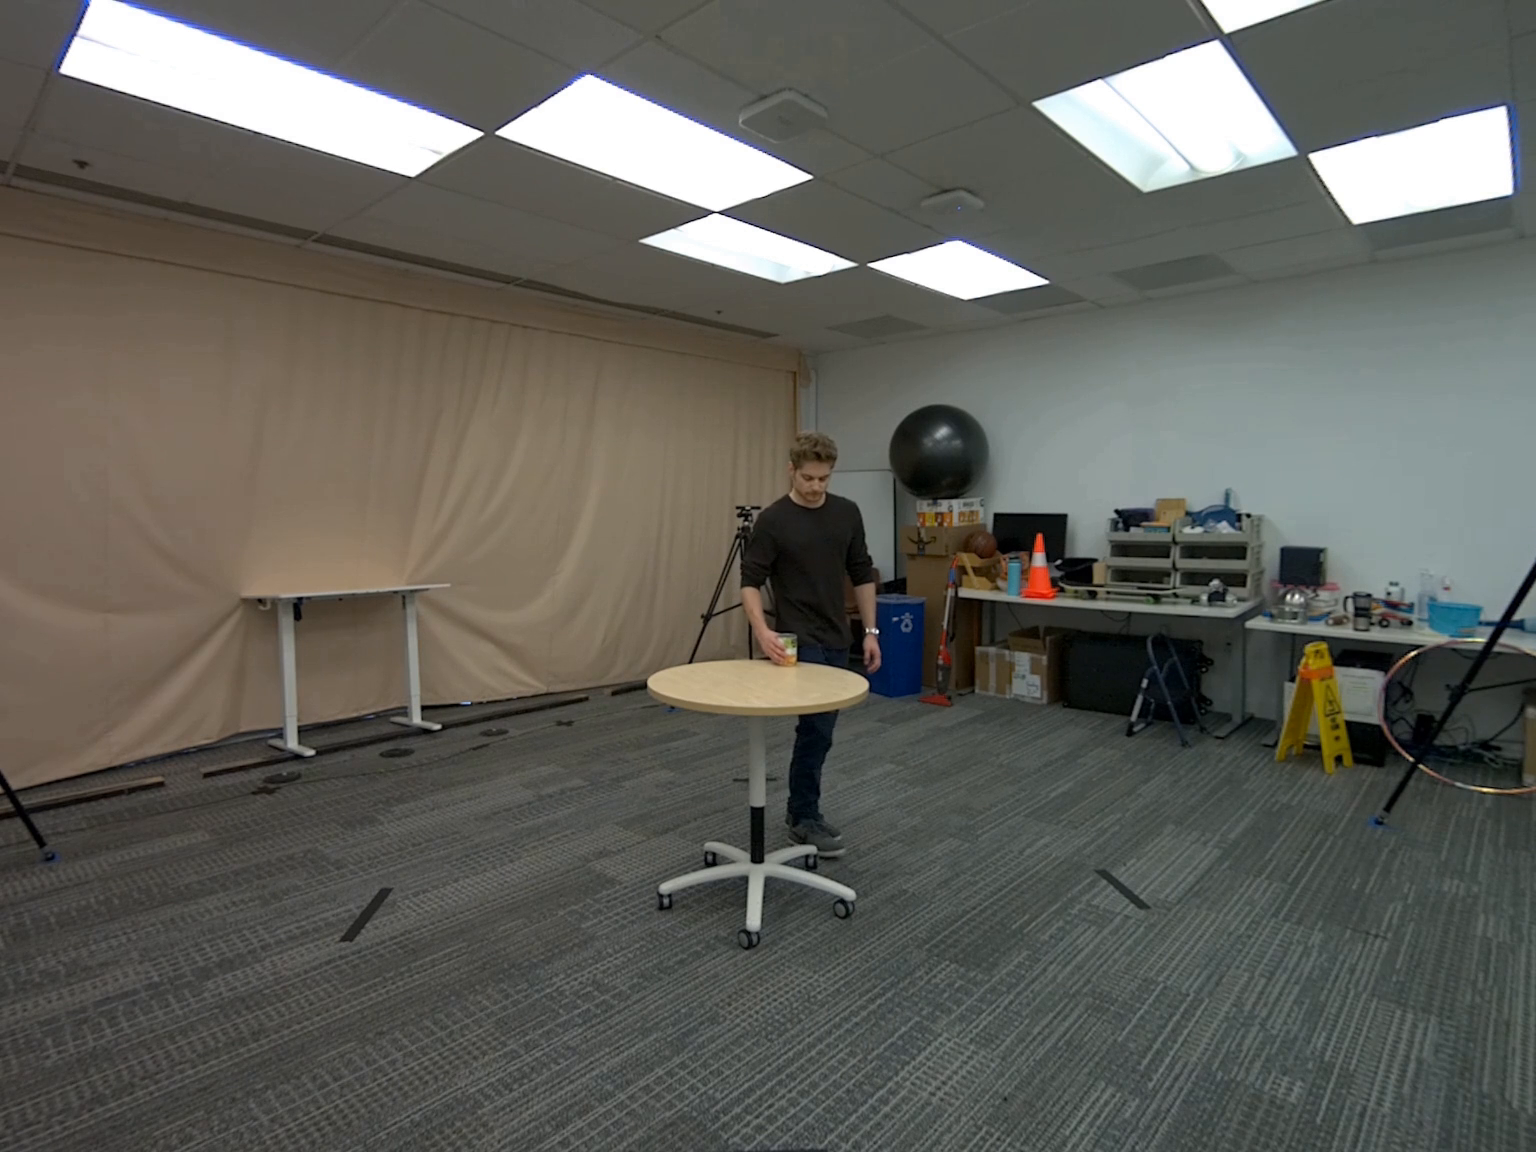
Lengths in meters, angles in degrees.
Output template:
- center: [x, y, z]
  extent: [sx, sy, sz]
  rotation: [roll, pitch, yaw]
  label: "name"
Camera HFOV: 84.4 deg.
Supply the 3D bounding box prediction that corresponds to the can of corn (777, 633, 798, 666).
- center: [0.074, 0.284, 3.214]
  extent: [0.074, 0.111, 0.074]
  rotation: [-2, -1, -2]
  label: "can of corn"
